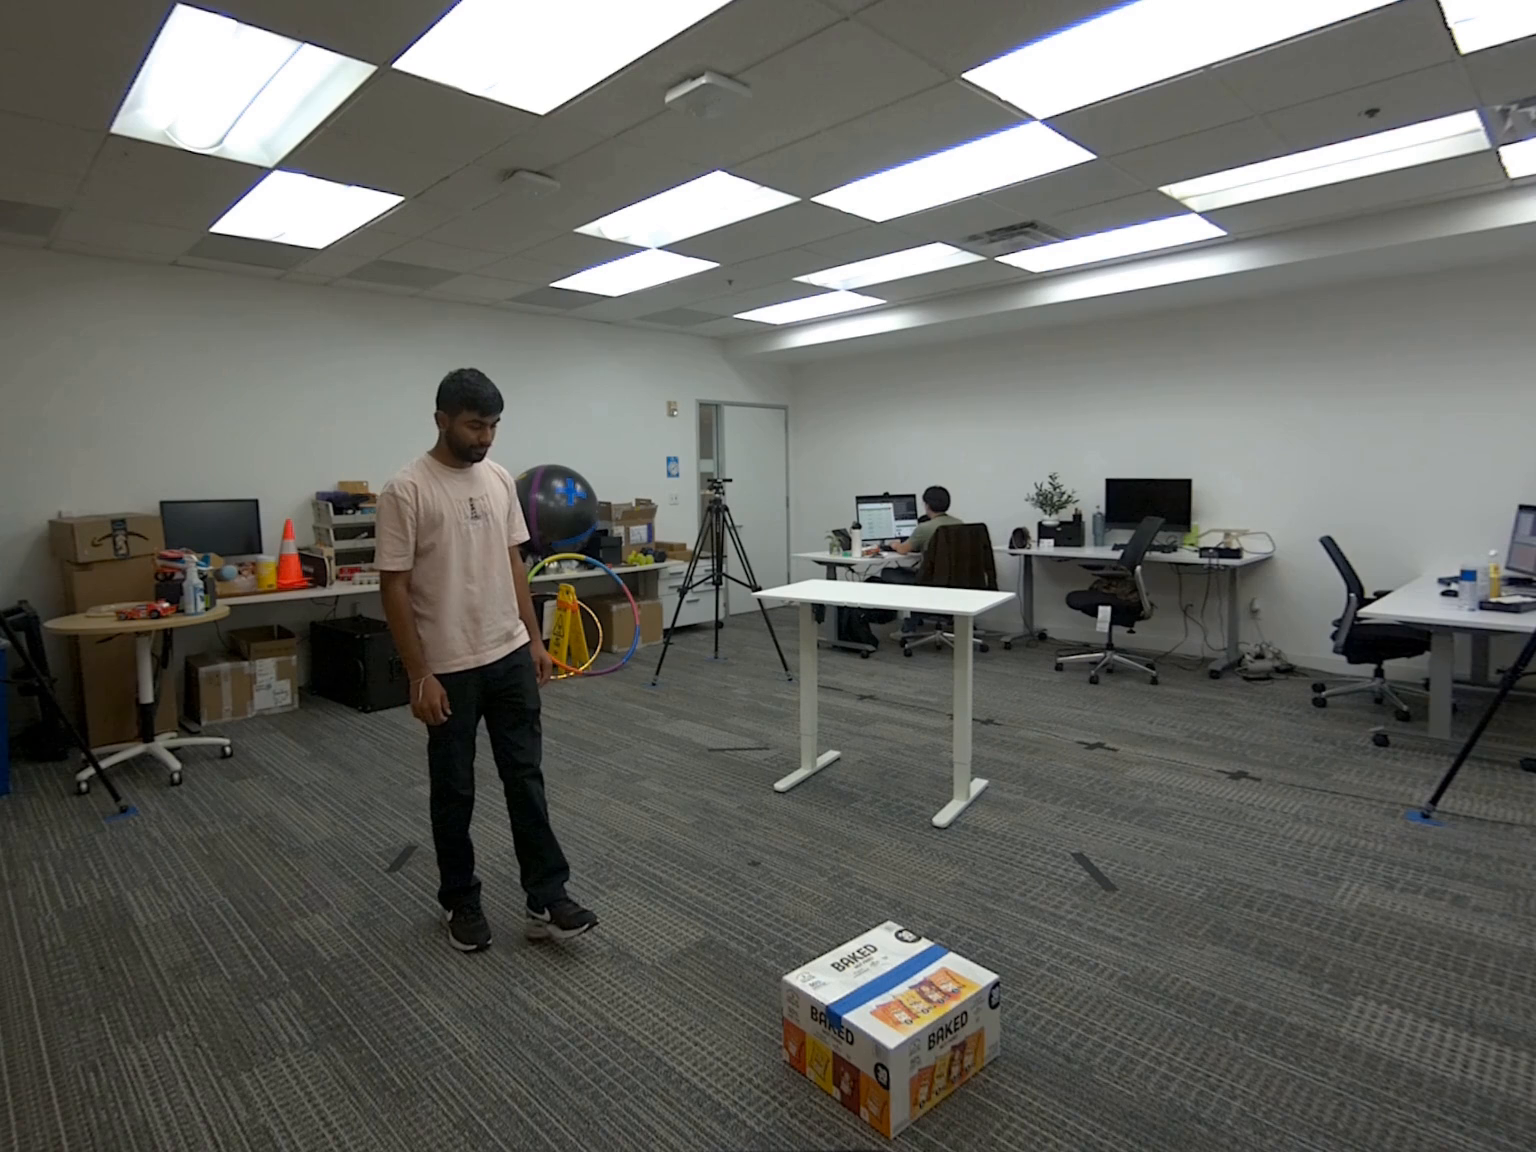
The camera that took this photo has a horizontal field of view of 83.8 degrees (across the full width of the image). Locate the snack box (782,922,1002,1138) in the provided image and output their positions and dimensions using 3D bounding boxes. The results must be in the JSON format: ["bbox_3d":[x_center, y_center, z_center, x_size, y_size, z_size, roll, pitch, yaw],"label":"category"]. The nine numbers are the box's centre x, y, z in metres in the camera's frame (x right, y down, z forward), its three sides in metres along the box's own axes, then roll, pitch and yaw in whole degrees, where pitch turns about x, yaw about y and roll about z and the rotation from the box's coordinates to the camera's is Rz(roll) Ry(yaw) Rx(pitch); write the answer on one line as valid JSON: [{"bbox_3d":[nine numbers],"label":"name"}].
[{"bbox_3d":[0.303,1.065,2.044,0.395,0.205,0.351,-6,8,-40],"label":"snack box"}]
